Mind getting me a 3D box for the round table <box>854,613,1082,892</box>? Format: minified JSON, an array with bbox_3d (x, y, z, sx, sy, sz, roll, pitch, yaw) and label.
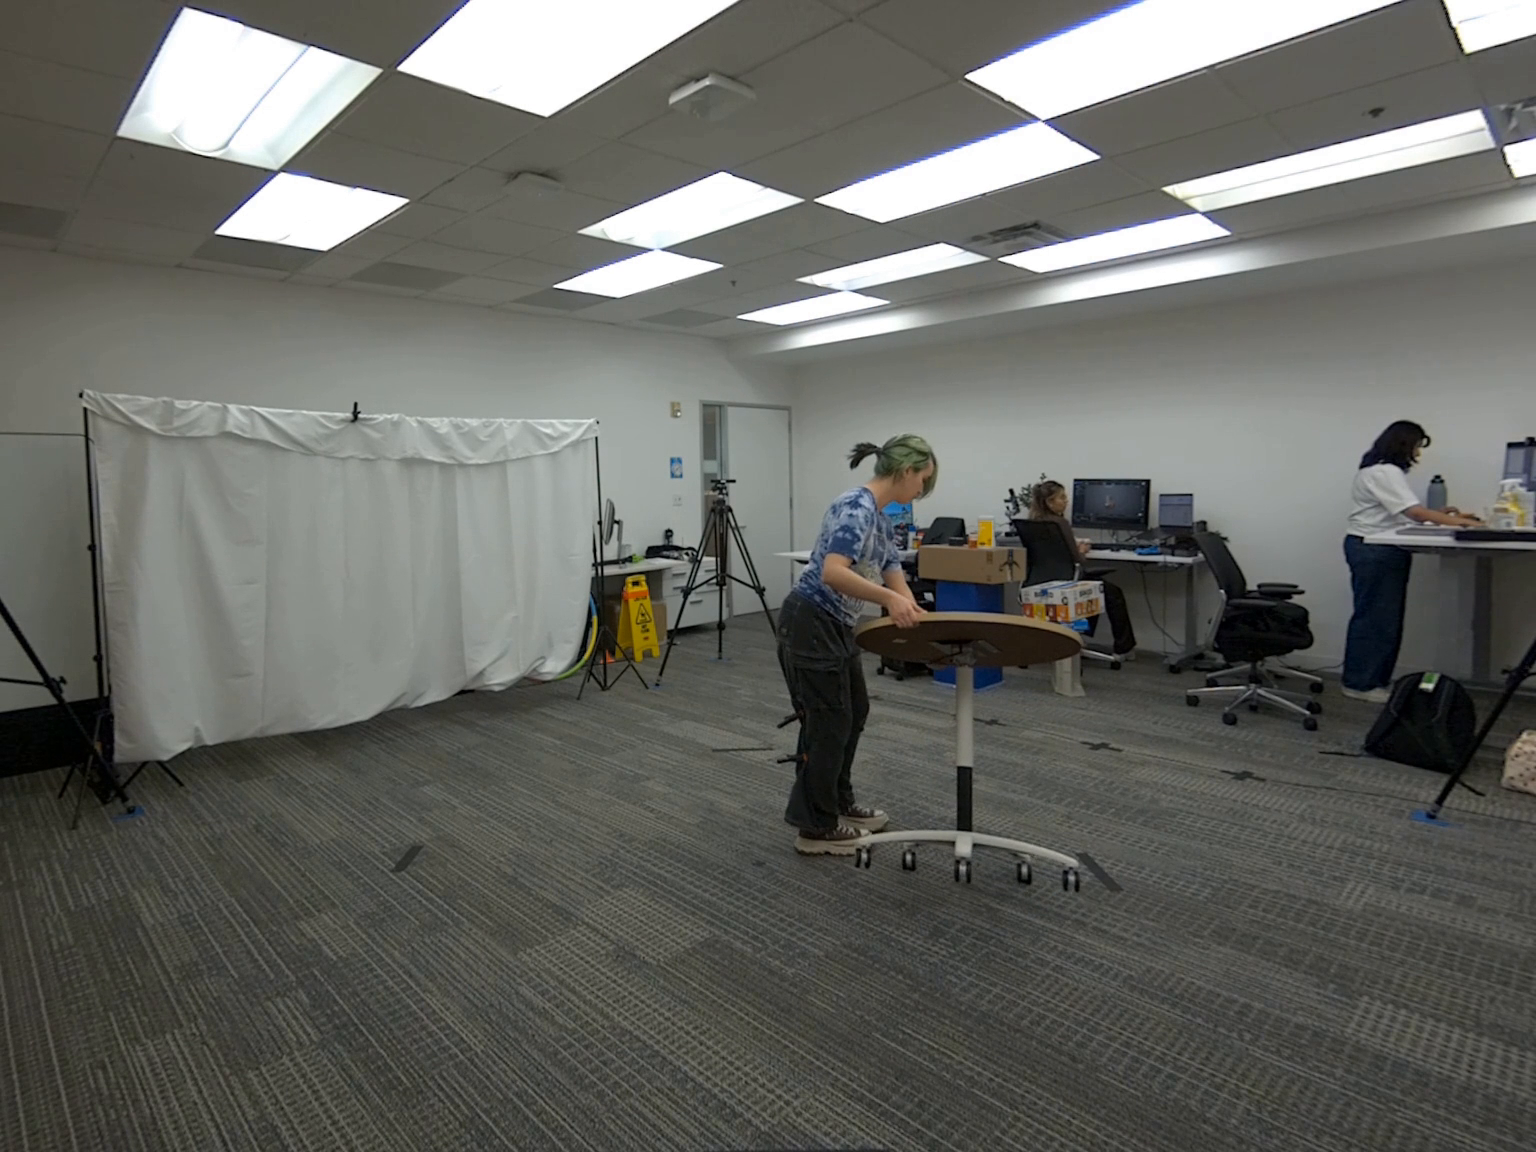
[{"bbox_3d":[0.677,0.606,2.876,0.765,0.805,0.753,5,-17,0],"label":"round table"}]
